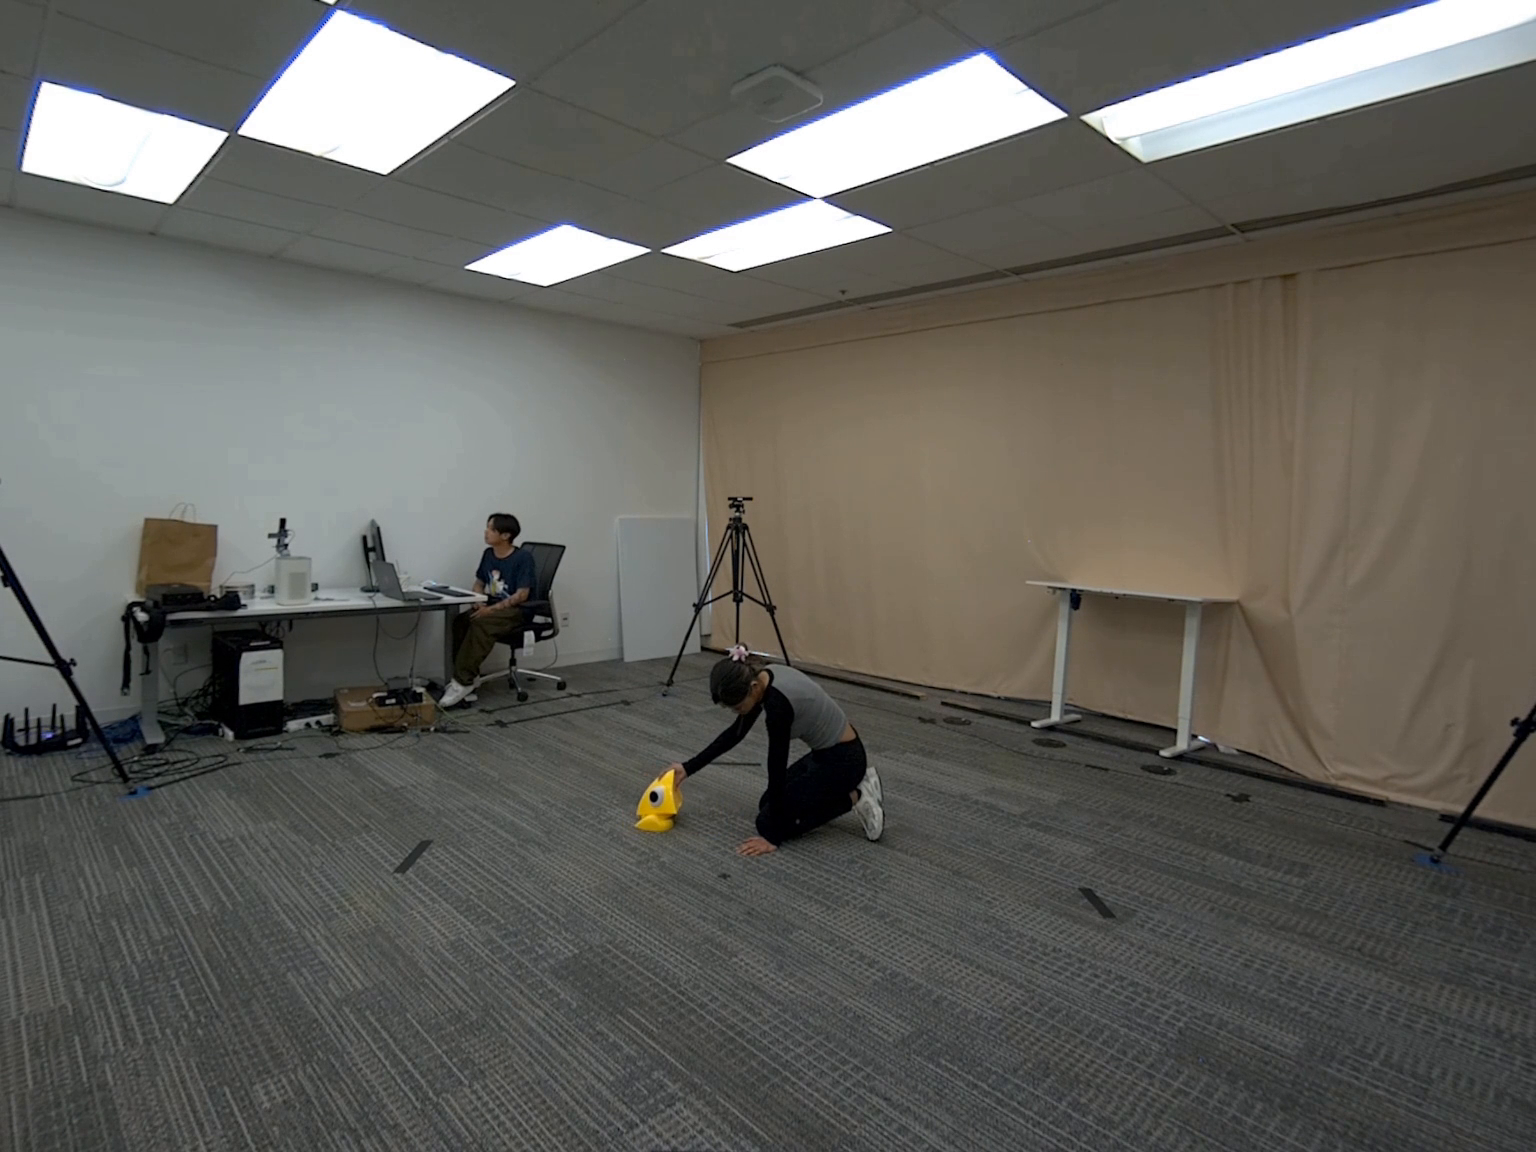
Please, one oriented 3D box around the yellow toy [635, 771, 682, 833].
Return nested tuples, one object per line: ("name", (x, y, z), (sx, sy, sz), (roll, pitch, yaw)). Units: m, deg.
("yellow toy", (-0.472, 0.938, 3.604), (0.194, 0.230, 0.204), (3, 4, 3))
